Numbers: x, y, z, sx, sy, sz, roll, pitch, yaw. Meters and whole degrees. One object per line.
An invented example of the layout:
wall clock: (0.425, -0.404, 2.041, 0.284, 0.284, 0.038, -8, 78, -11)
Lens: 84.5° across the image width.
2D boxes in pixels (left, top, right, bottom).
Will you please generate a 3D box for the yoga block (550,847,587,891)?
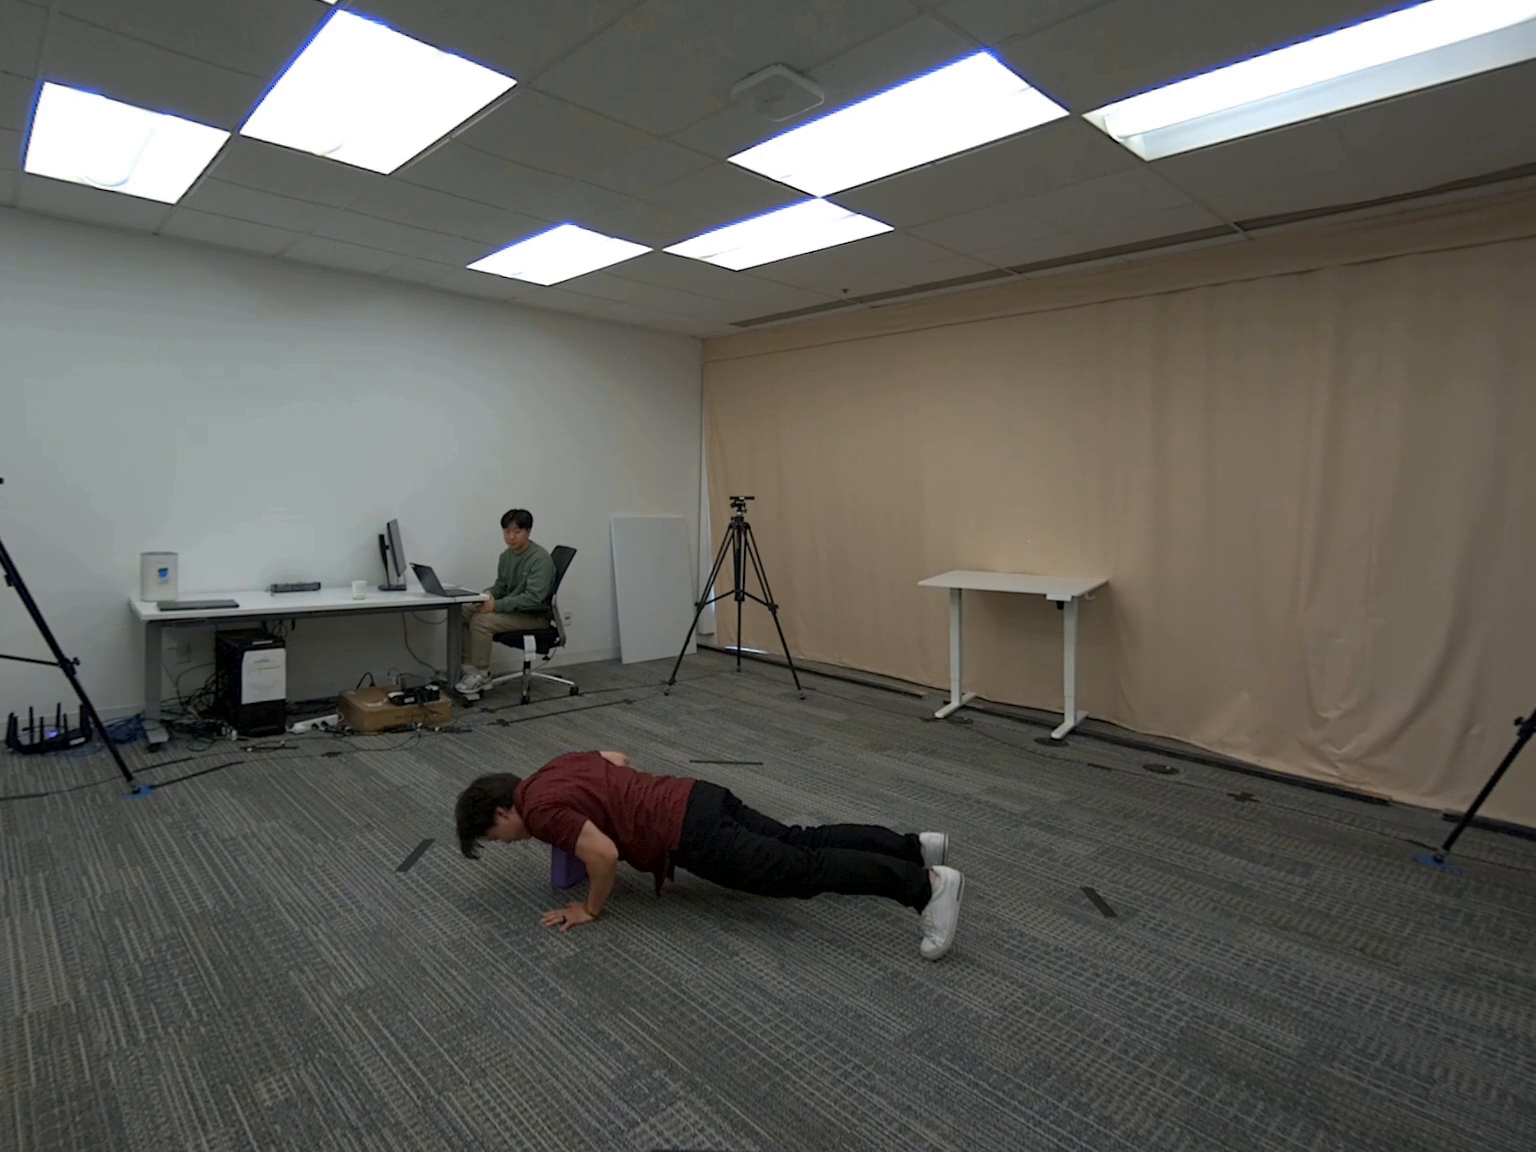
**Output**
yoga block: (-0.692, 1.017, 3.069, 0.078, 0.148, 0.226, 1, 5, 22)
